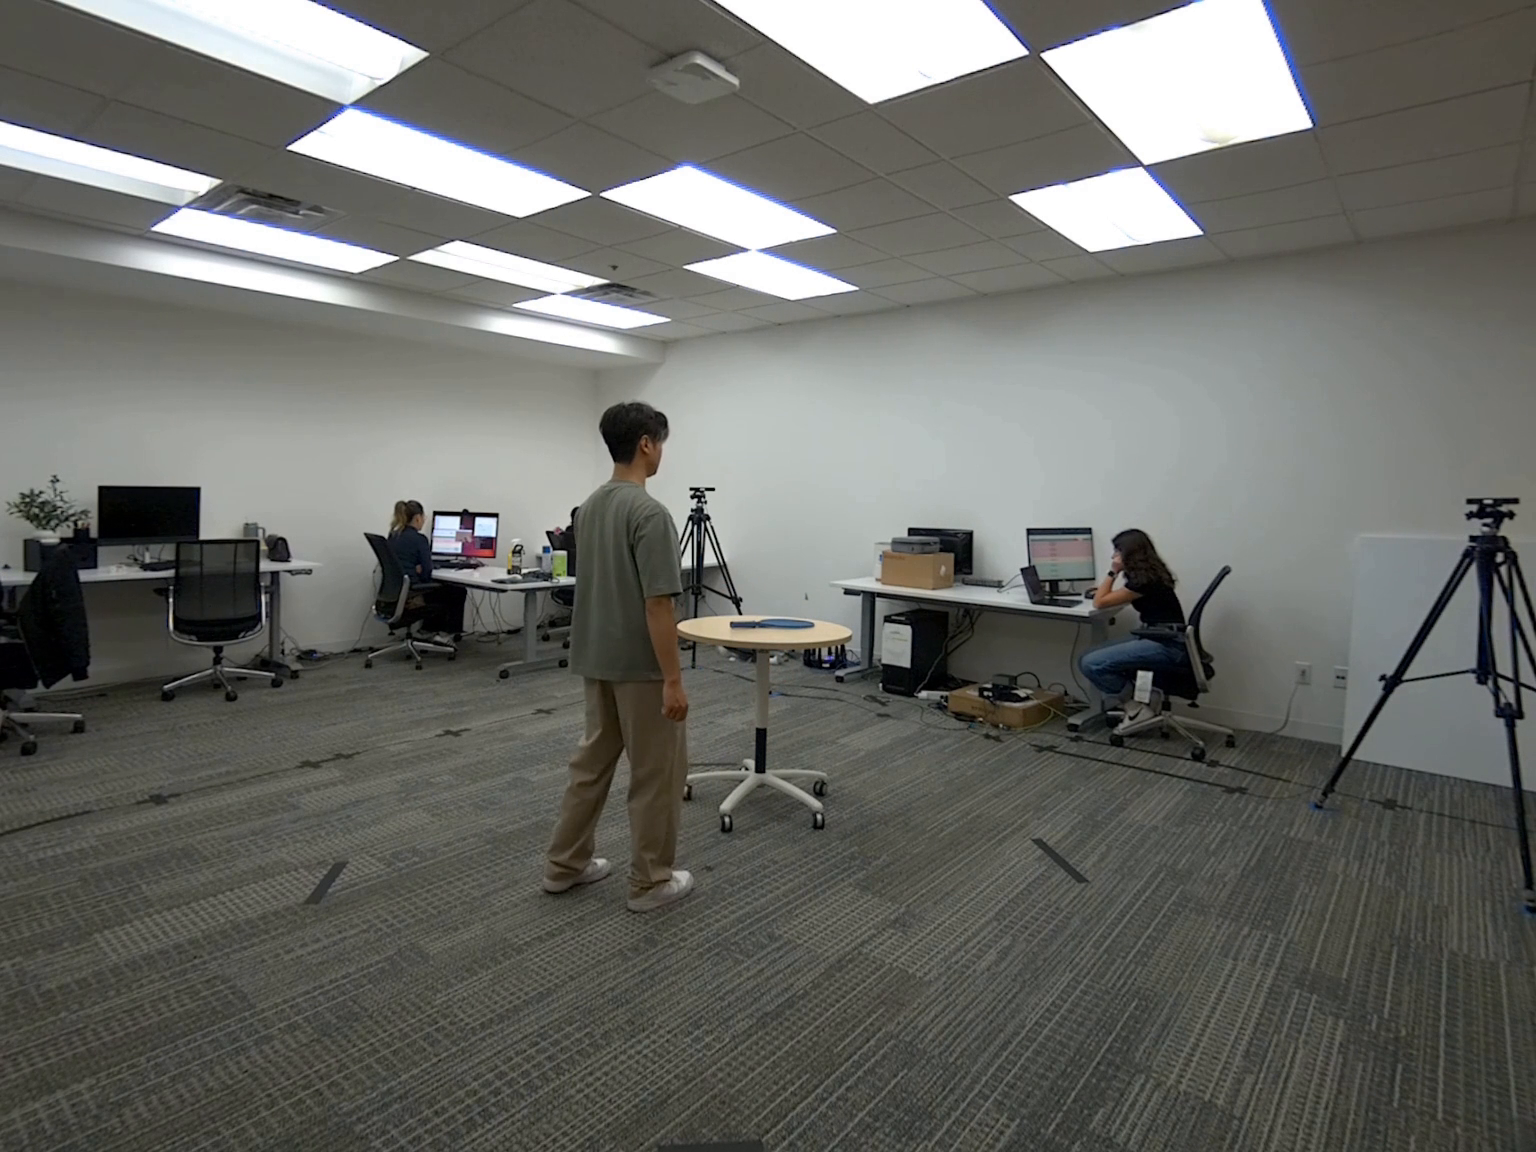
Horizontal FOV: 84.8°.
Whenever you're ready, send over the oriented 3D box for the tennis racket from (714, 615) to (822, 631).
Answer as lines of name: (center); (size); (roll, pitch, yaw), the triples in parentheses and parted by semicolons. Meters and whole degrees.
tennis racket: (0.000, 0.206, 3.778); (0.421, 0.032, 0.220); (0, 4, -31)
